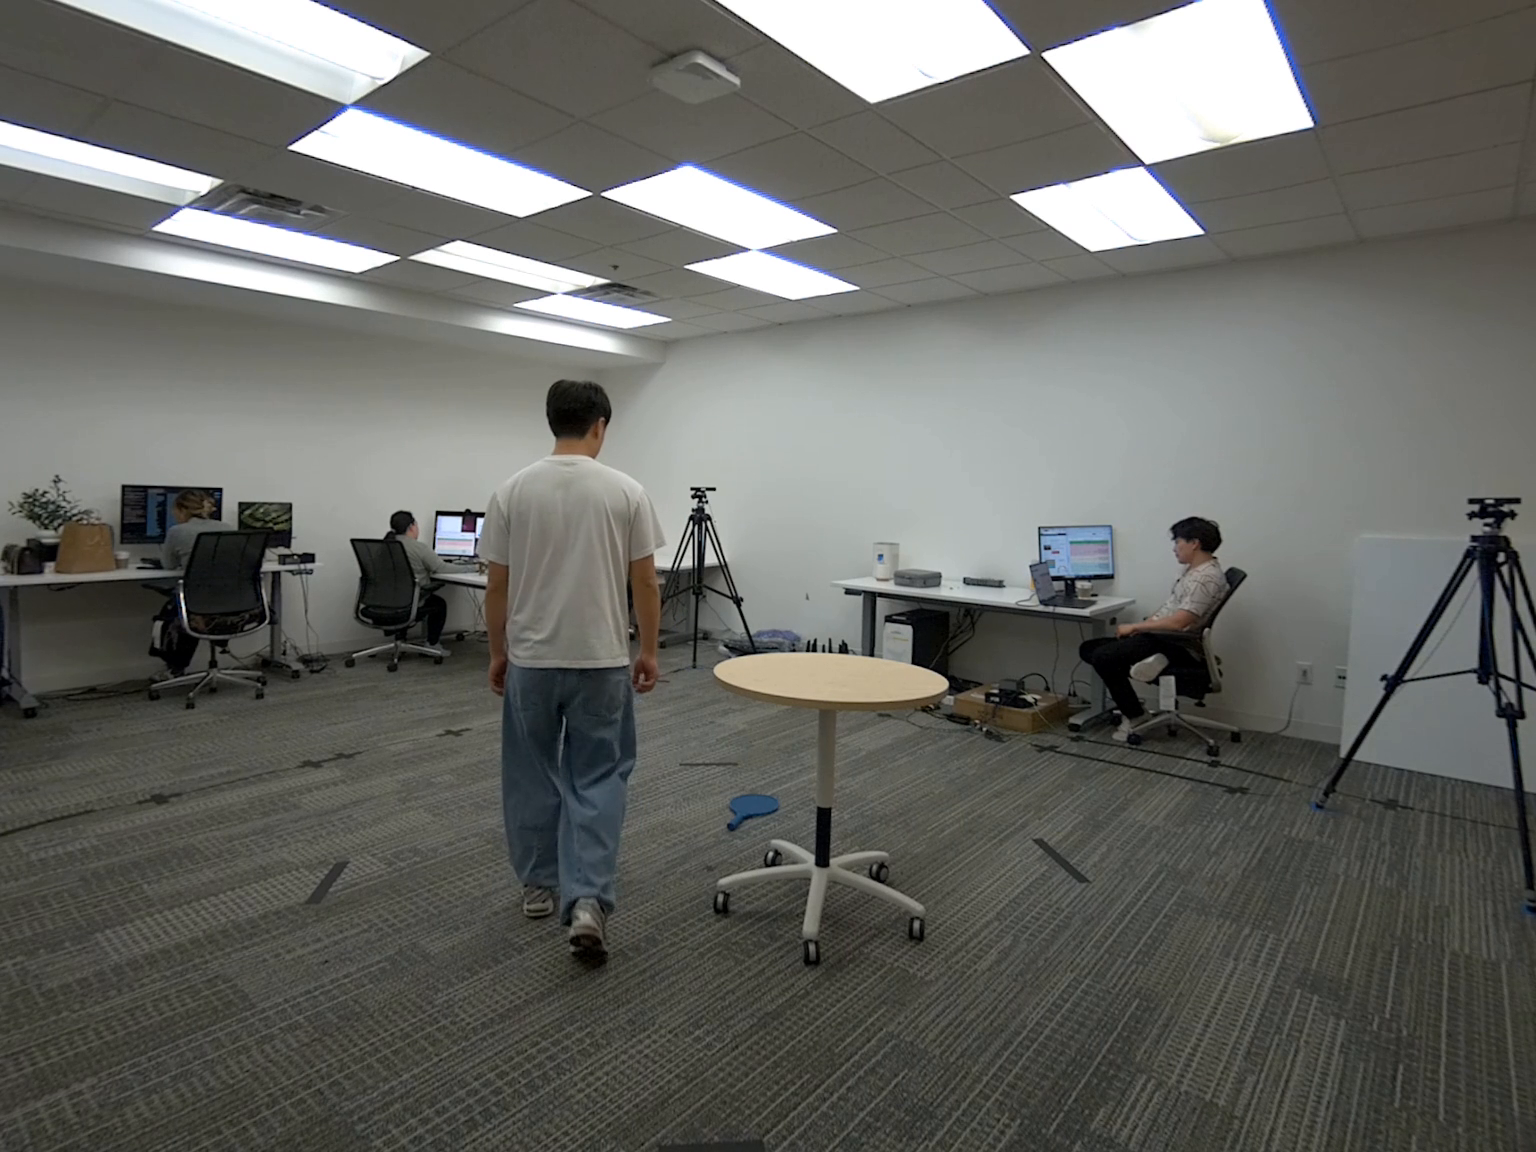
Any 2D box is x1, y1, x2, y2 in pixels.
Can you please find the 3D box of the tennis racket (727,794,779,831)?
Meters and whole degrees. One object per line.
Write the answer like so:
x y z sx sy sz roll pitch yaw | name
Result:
-0.097 1.000 3.653 0.218 0.032 0.424 2 4 20 | tennis racket
